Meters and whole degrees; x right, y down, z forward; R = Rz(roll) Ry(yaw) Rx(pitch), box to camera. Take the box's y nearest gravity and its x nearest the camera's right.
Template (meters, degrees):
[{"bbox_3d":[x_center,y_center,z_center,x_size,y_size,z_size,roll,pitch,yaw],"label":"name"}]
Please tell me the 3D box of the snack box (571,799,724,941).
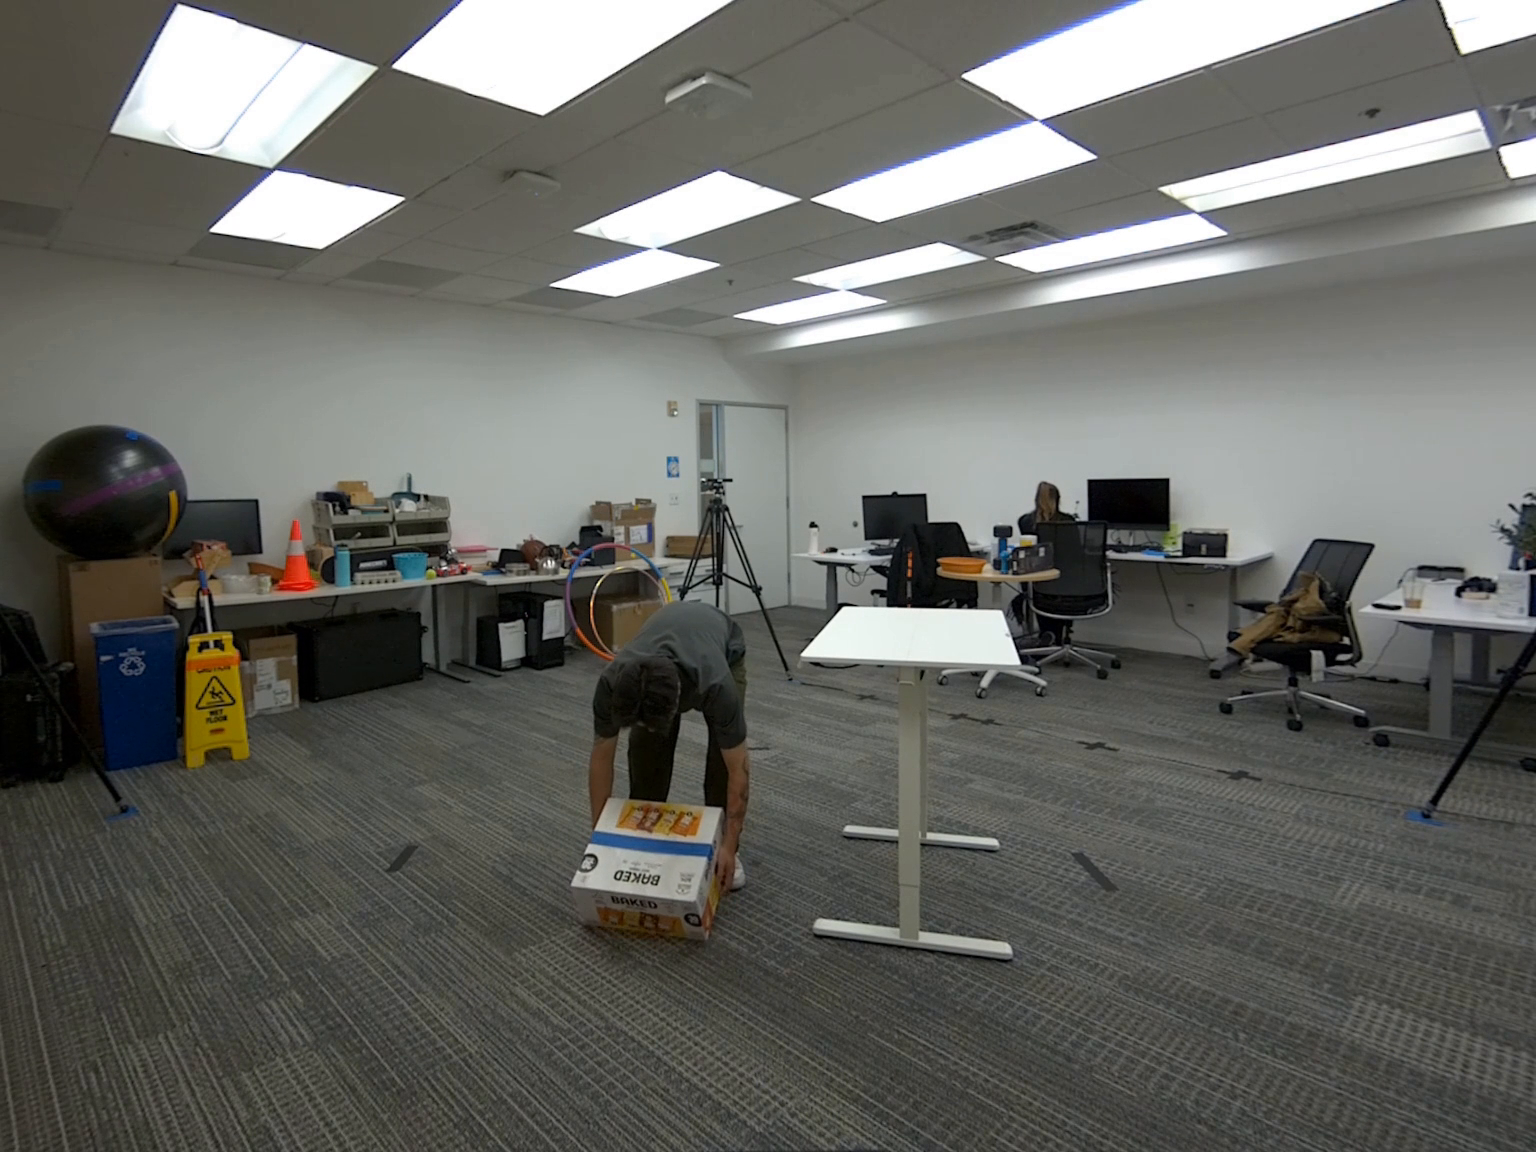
[{"bbox_3d":[-0.363,0.930,2.727,0.411,0.200,0.345,1,34,15],"label":"snack box"}]
